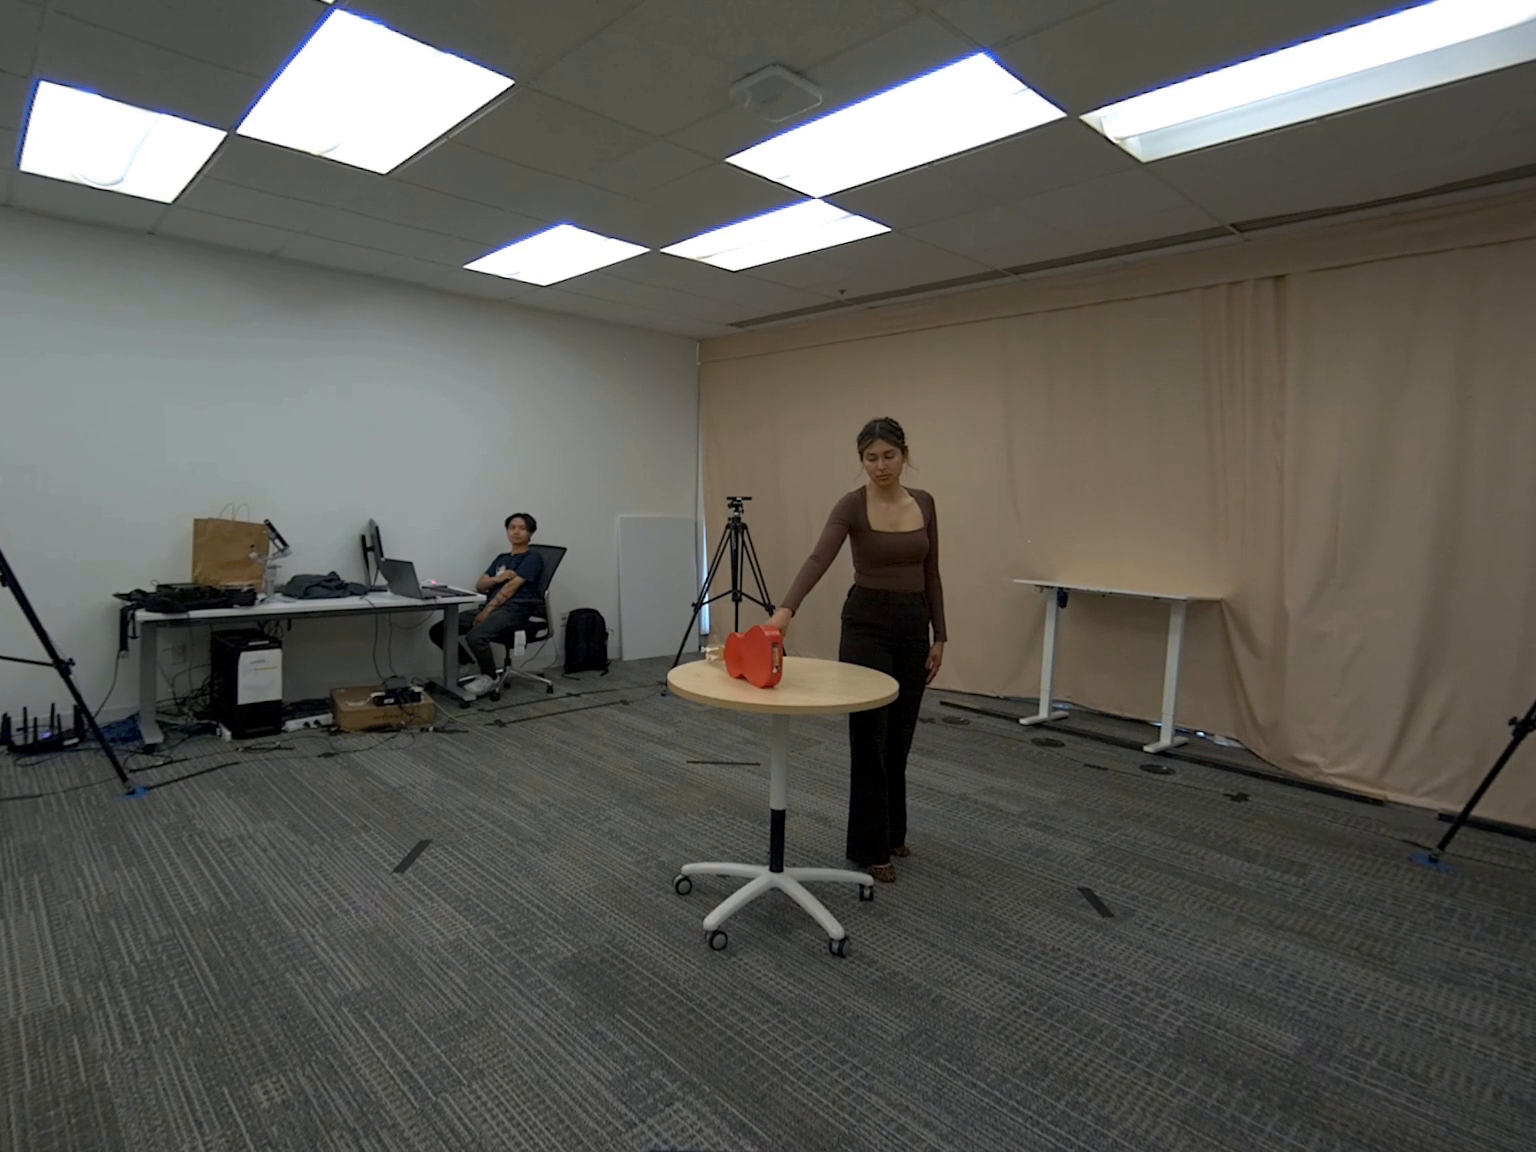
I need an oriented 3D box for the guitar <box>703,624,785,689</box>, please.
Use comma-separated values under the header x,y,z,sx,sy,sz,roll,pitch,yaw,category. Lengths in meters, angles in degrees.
x,y,z,sx,sy,sz,roll,pitch,yaw,category
-0.107,0.294,2.821,0.069,0.195,0.503,3,-14,-31,guitar
